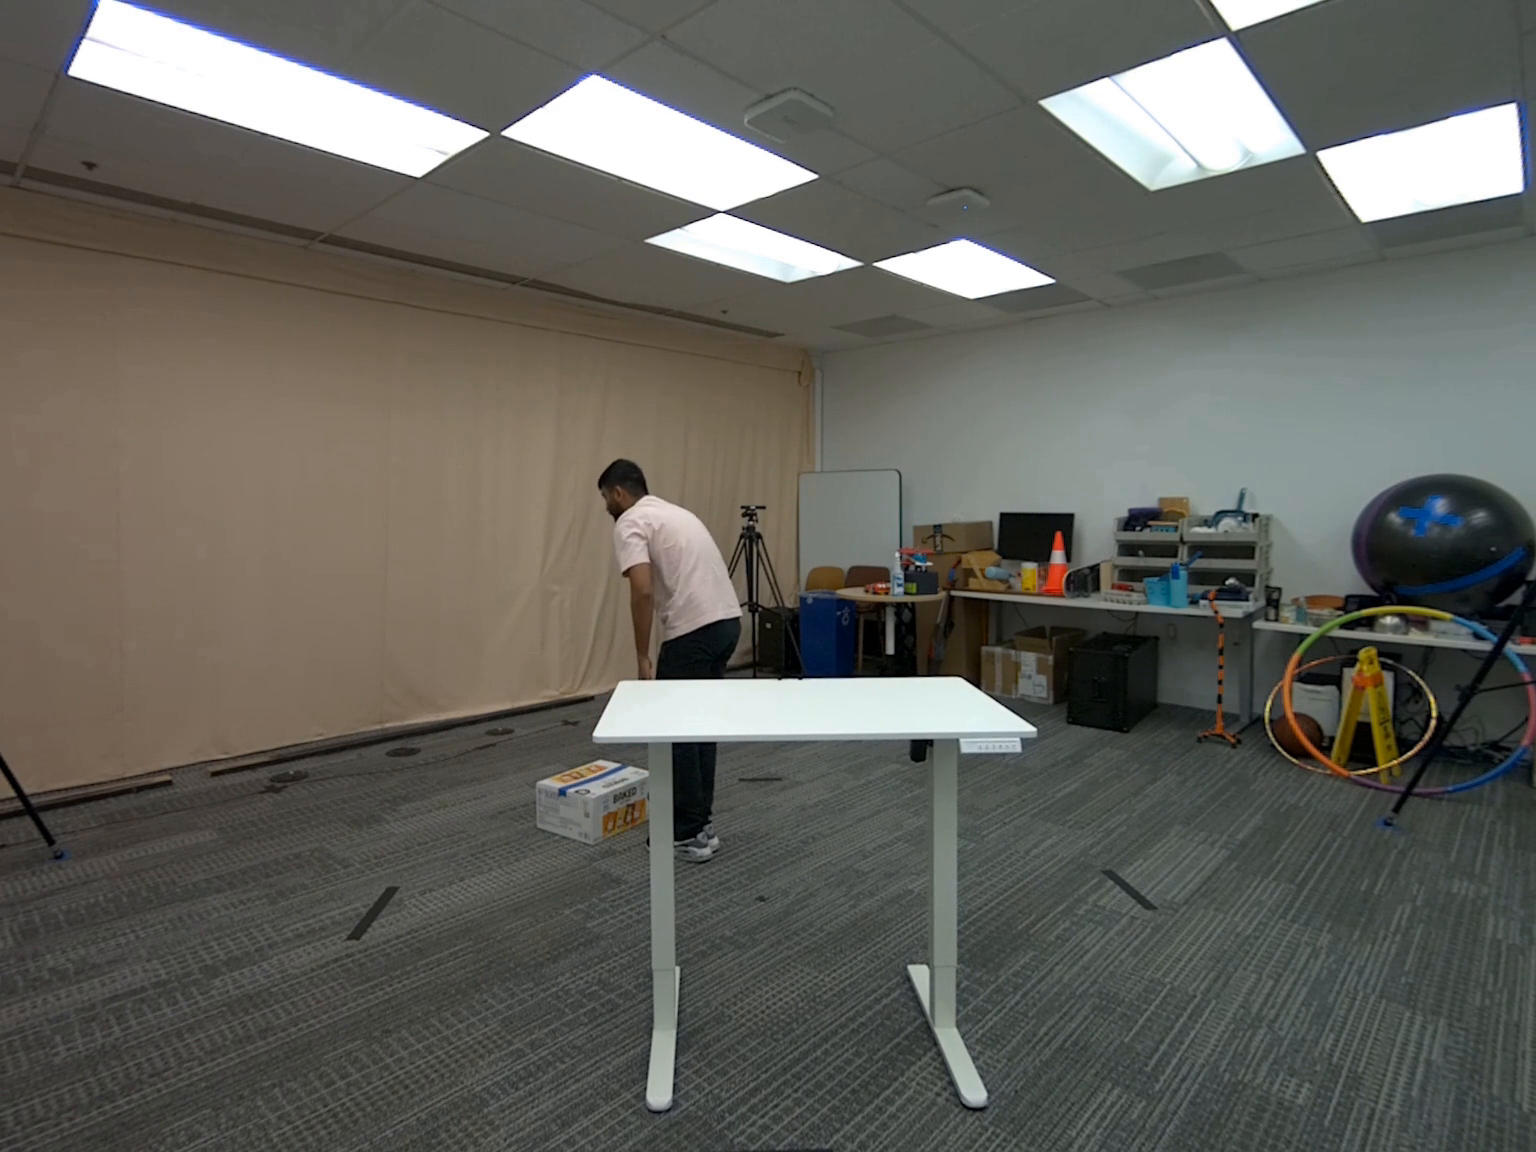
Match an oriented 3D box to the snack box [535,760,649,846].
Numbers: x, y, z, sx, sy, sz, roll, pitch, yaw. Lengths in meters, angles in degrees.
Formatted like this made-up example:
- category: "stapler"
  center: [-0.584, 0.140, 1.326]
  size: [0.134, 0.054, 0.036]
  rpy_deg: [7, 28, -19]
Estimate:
- category: "snack box"
  center: [-0.757, 0.989, 3.714]
  size: [0.351, 0.205, 0.394]
  rpy_deg: [2, 5, 34]
